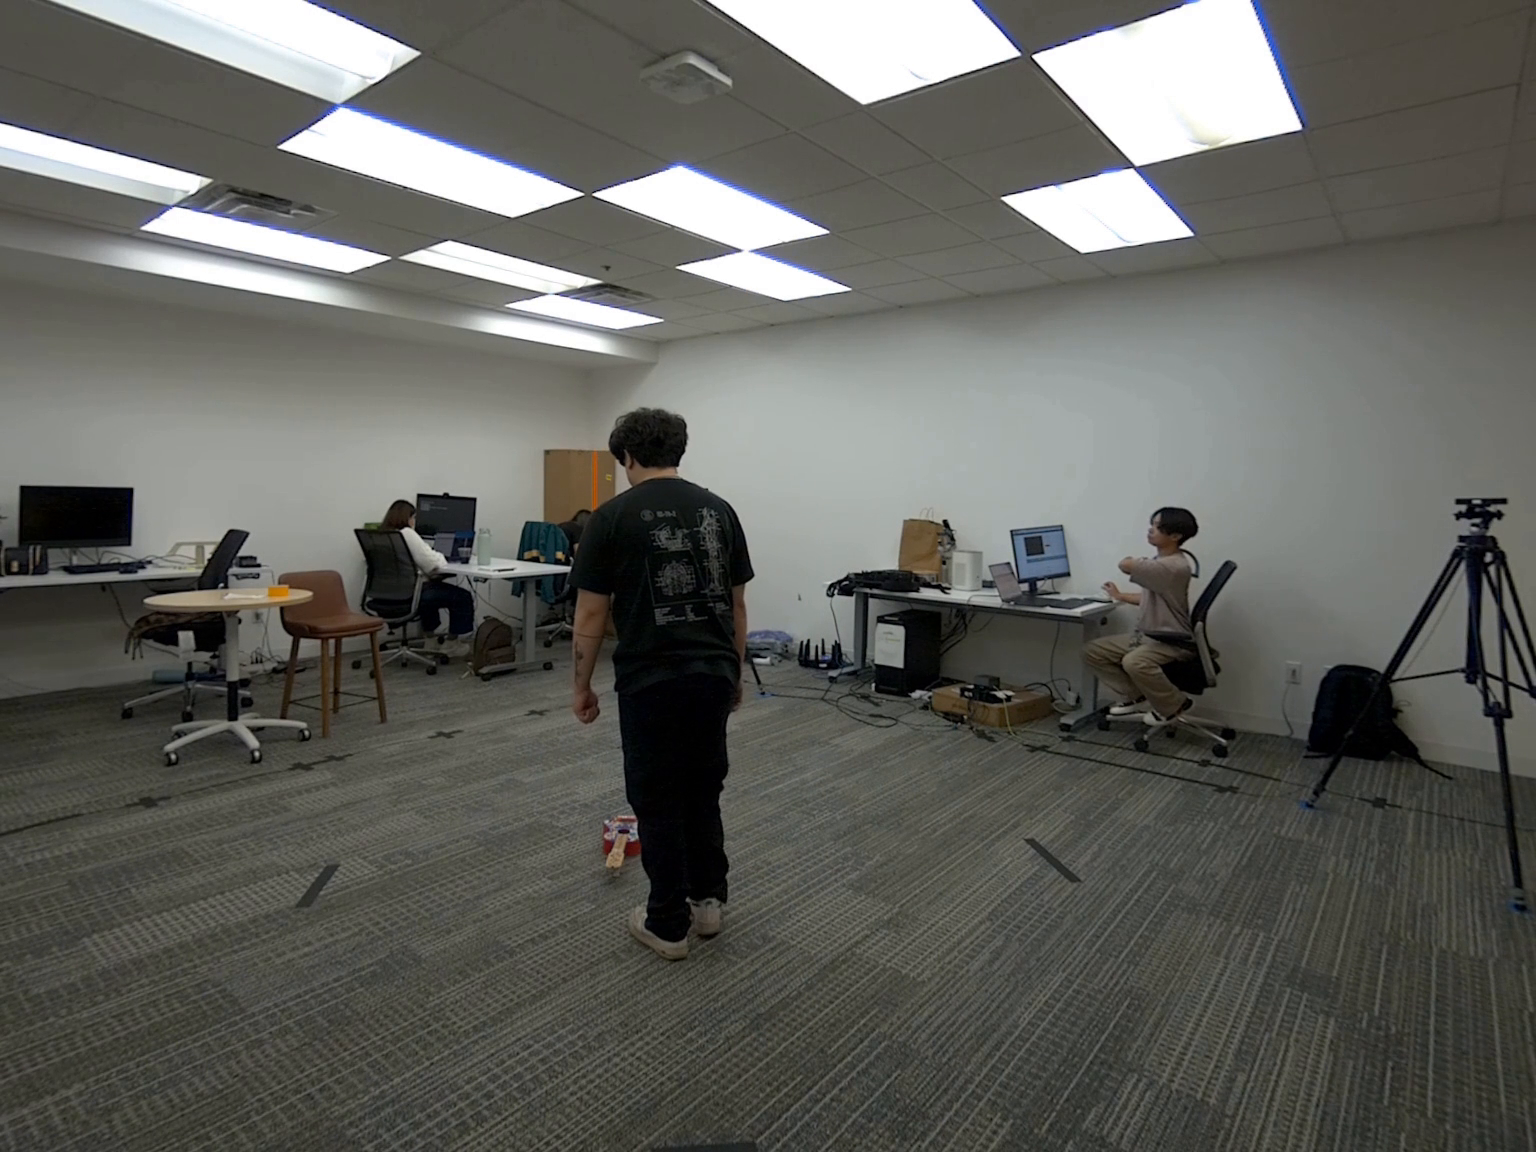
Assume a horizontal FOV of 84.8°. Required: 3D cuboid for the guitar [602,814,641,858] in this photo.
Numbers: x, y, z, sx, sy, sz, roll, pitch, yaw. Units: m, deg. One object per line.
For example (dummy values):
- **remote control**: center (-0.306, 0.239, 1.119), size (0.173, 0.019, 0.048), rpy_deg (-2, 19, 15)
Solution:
- **guitar**: center (-0.592, 1.016, 3.221), size (0.194, 0.070, 0.495), rpy_deg (2, 5, 6)
